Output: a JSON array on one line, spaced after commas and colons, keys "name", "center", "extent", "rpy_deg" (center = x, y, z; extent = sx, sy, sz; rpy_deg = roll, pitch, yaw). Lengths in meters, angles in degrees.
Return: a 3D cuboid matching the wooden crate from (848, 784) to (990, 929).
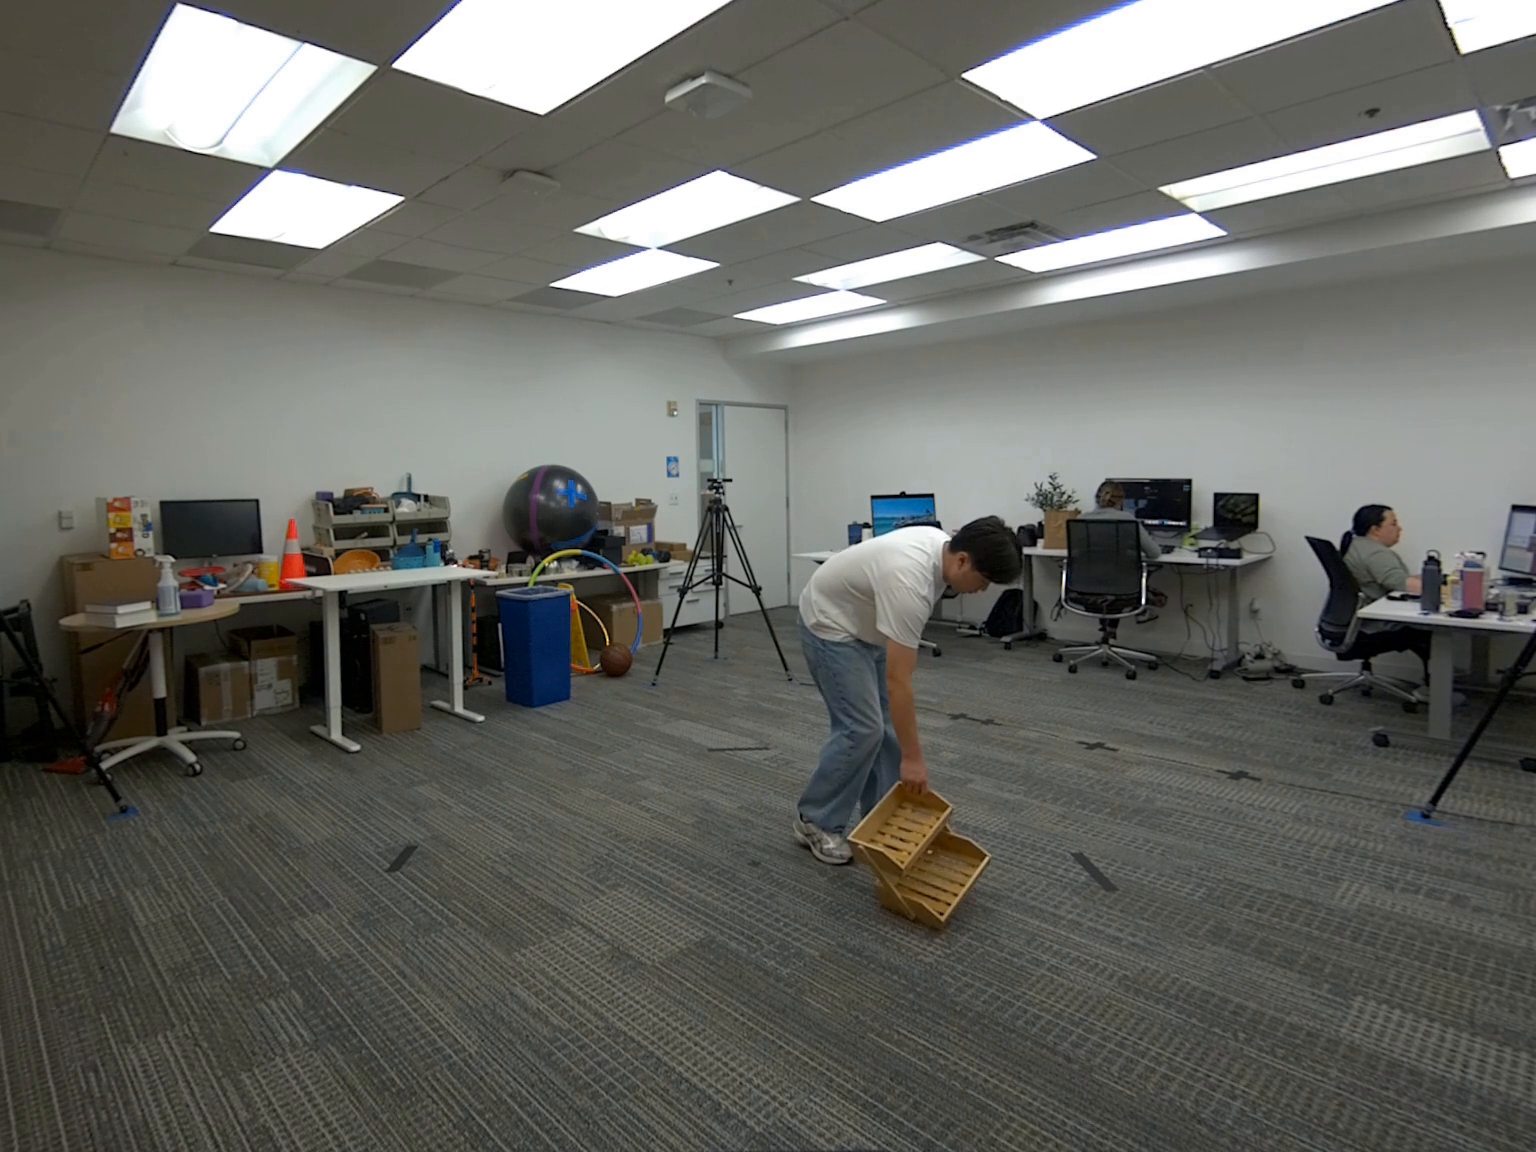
[{"name": "wooden crate", "center": [0.489, 0.894, 2.761], "extent": [0.311, 0.267, 0.322], "rpy_deg": [3, 29, 45]}]
